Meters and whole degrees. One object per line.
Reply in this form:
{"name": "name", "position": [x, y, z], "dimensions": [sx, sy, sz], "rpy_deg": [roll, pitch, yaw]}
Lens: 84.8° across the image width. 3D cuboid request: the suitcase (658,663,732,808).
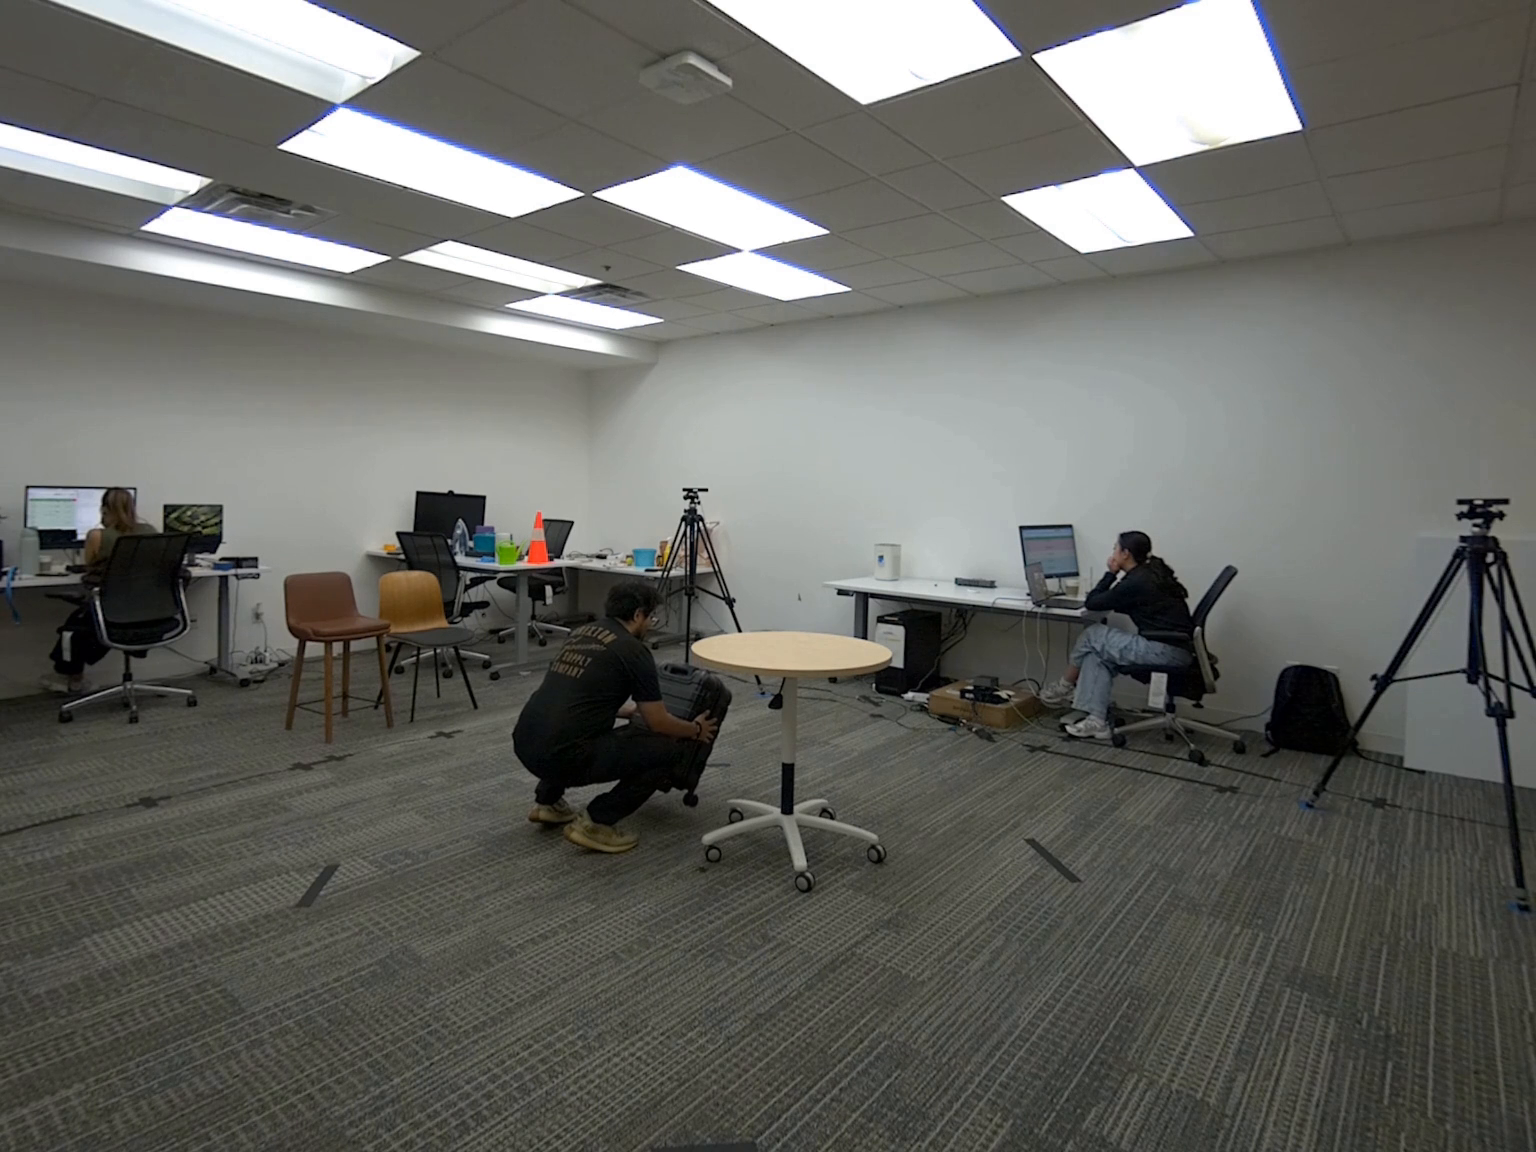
{"name": "suitcase", "position": [-0.426, 0.677, 3.768], "dimensions": [0.388, 0.554, 0.238], "rpy_deg": [5, -25, 40]}
